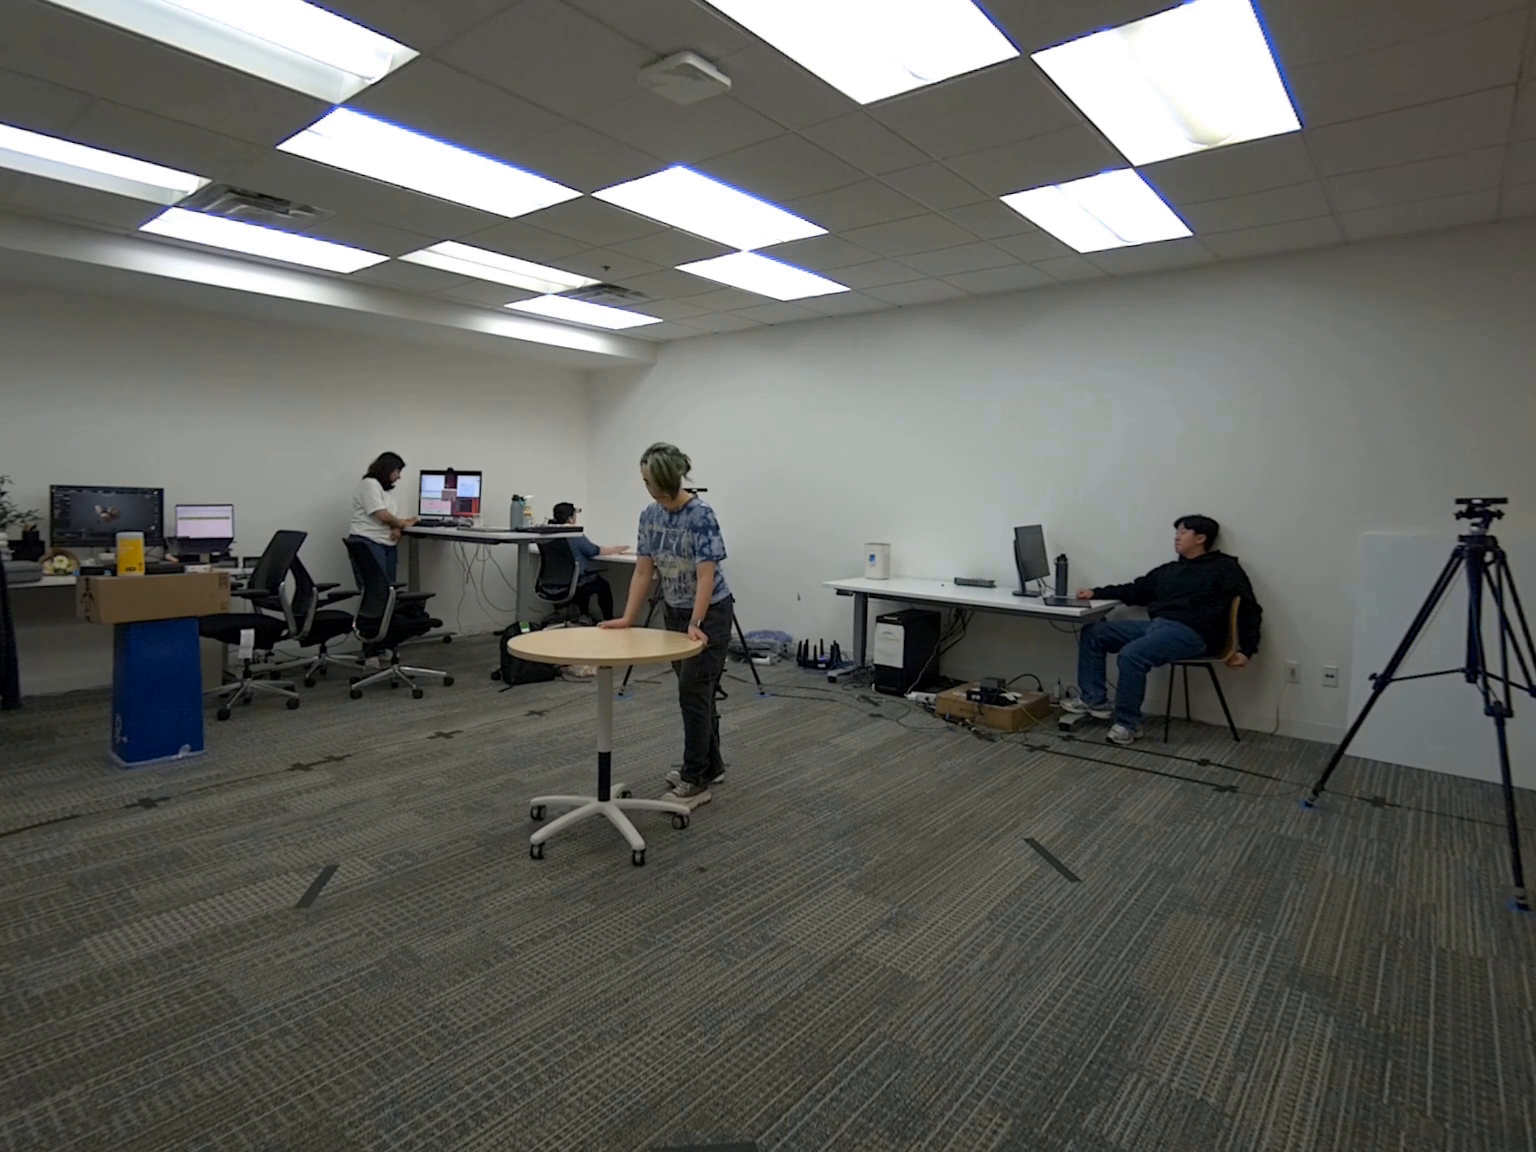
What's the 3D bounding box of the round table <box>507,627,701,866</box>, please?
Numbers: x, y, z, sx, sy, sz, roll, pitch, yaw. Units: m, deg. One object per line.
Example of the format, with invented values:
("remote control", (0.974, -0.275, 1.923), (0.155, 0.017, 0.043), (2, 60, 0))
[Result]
("round table", (-0.667, 0.648, 3.397), (0.763, 0.792, 0.767), (1, 4, -2))
